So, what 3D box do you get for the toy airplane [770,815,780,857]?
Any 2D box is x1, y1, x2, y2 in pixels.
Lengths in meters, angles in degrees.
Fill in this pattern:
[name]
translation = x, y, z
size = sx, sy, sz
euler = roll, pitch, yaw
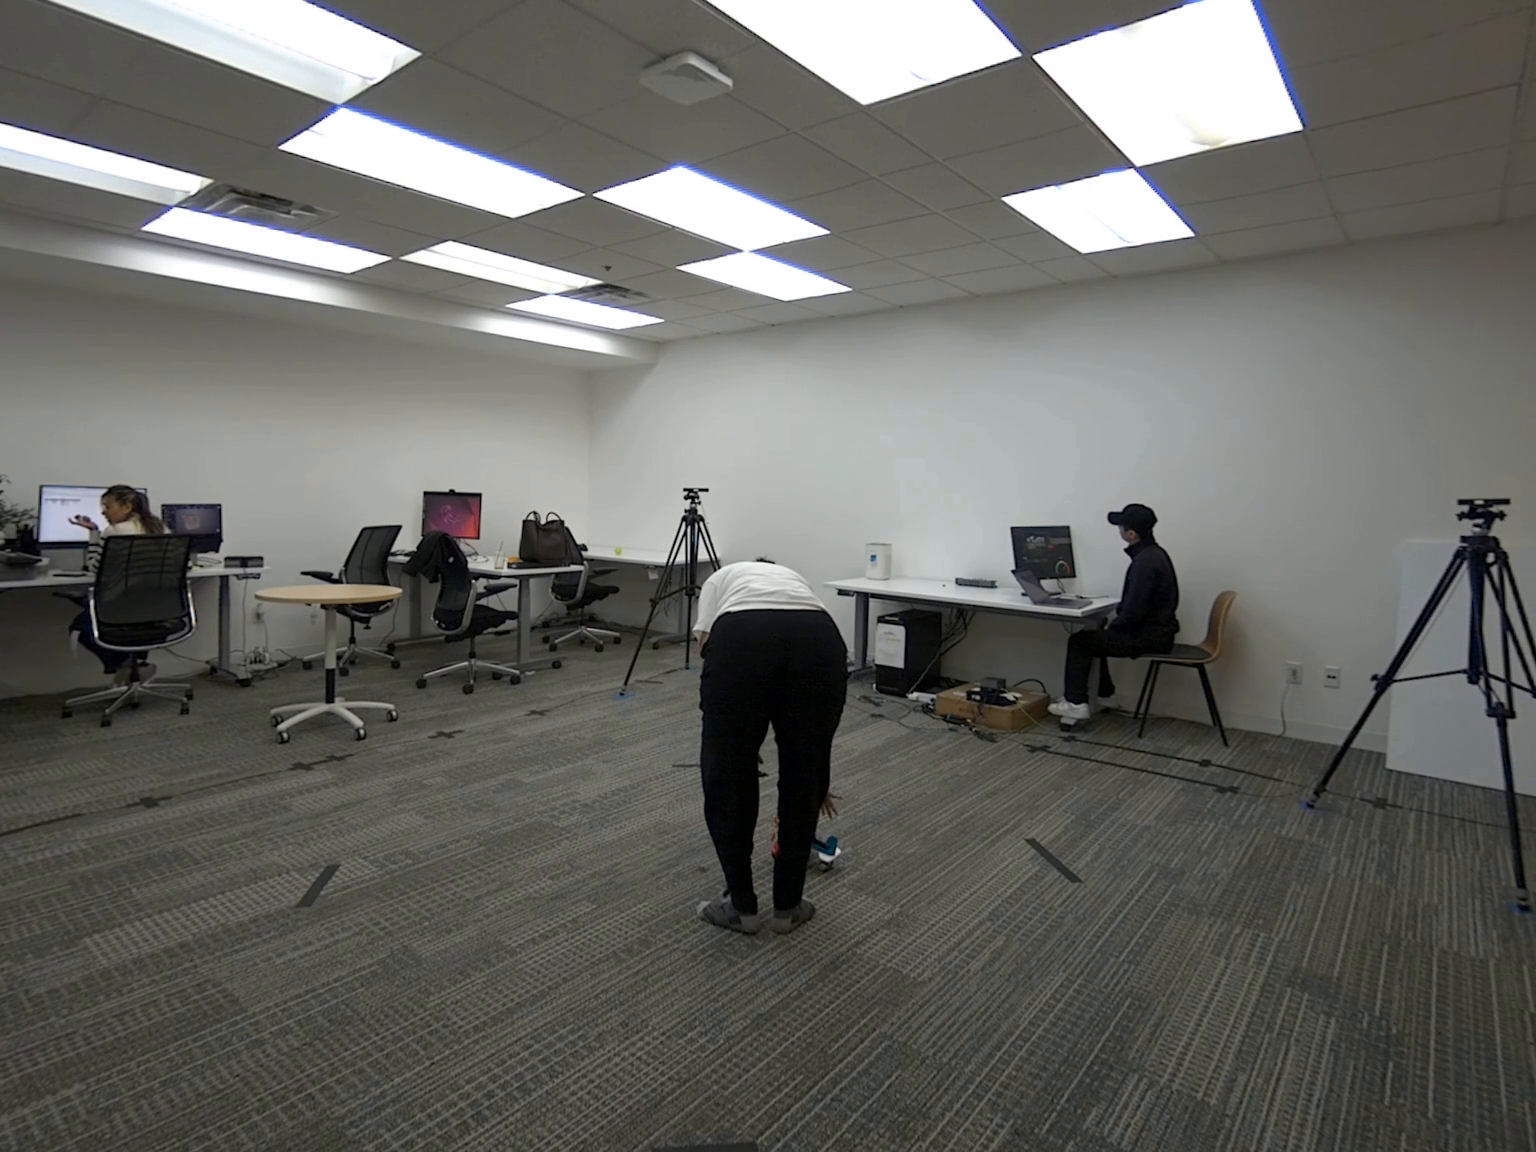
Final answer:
[toy airplane]
translation = 0.137, 0.984, 3.198
size = 0.260, 0.156, 0.251
euler = 1, 4, 3
